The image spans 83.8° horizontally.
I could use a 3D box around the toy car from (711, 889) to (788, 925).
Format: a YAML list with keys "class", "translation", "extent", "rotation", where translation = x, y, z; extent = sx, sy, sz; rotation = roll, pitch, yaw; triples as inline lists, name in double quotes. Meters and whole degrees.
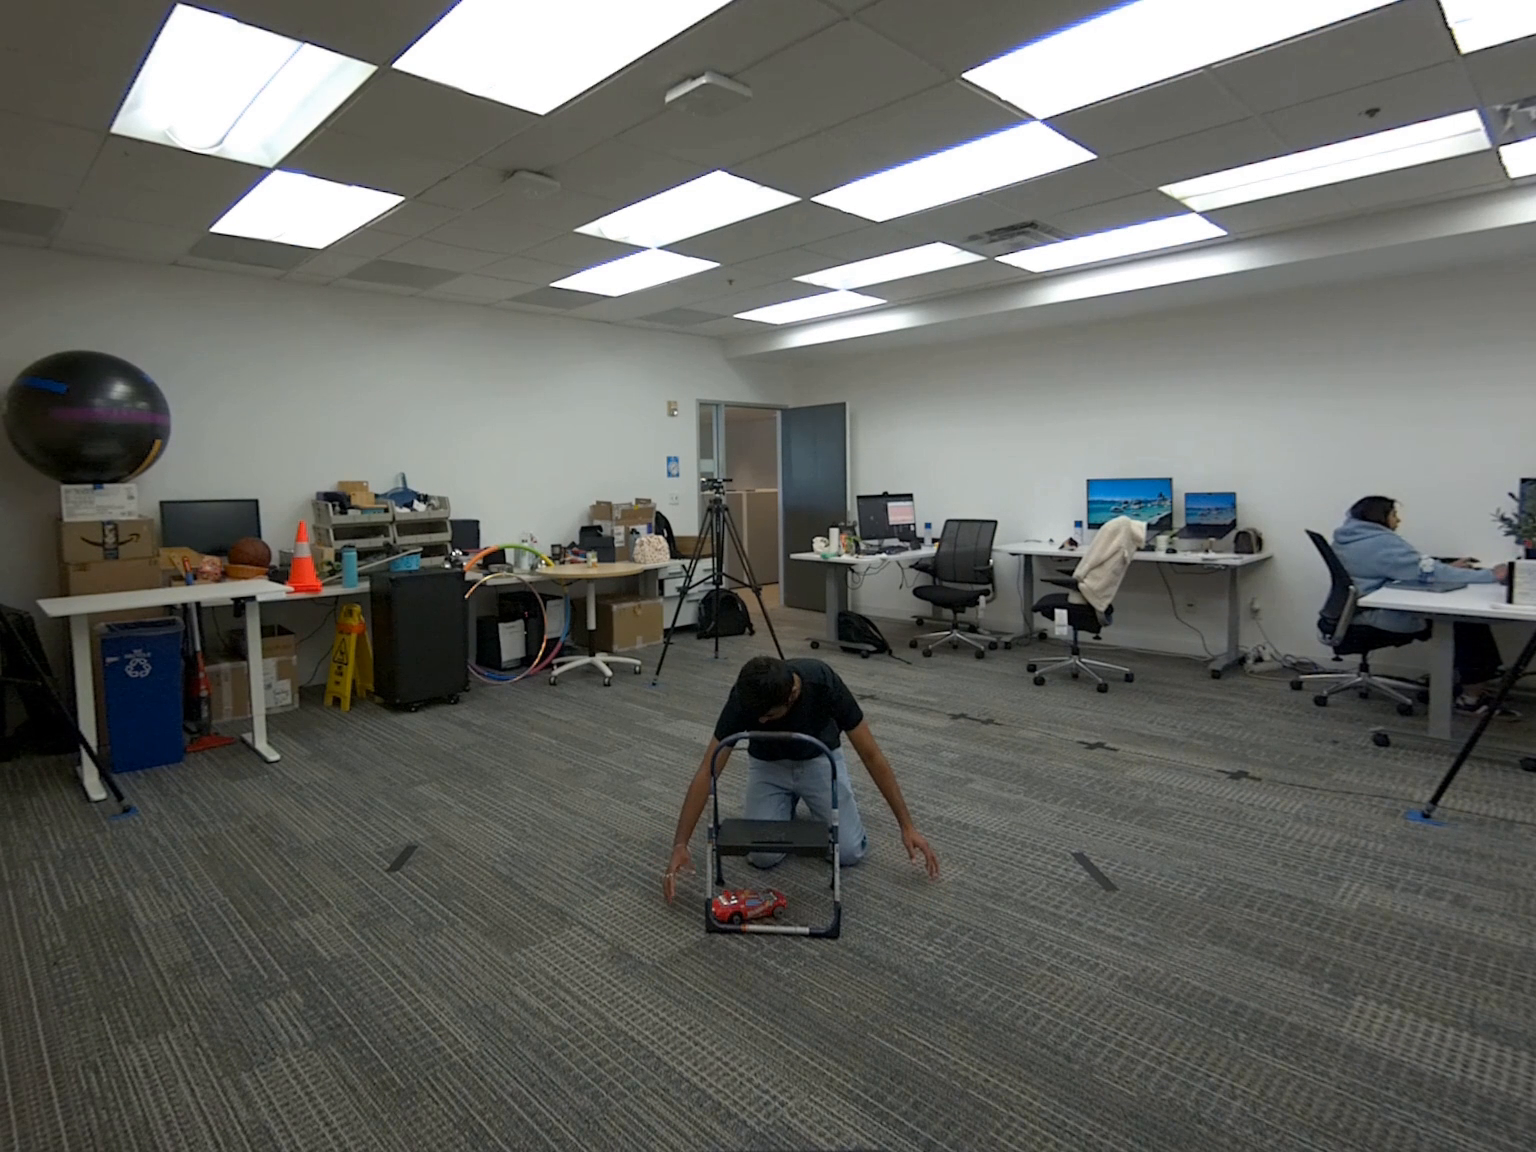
- class: "toy car"
  translation: [-0.074, 1.059, 2.725]
  extent: [0.250, 0.083, 0.133]
  rotation: [8, 3, -18]
